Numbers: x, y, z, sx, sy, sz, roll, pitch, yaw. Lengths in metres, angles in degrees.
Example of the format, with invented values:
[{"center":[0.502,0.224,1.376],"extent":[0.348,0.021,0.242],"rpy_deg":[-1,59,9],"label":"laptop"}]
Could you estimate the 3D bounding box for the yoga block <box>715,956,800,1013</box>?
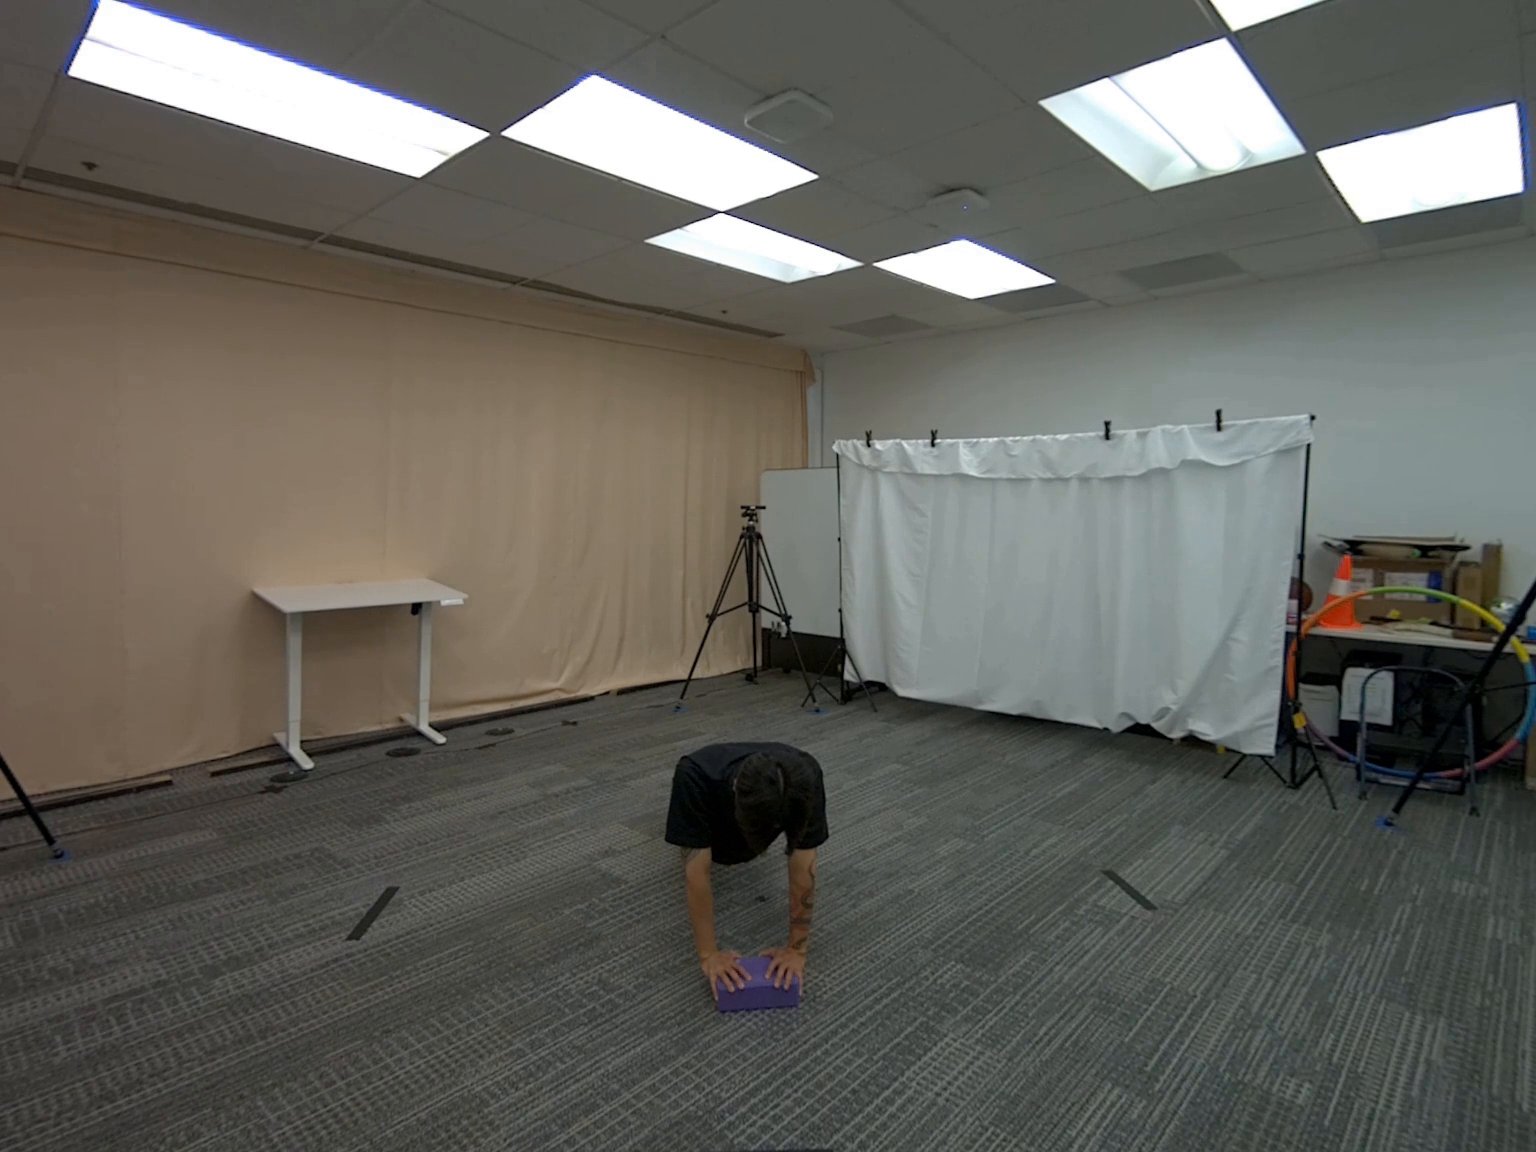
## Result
[{"center":[-0.039,1.151,2.394],"extent":[0.227,0.076,0.151],"rpy_deg":[0,4,-9],"label":"yoga block"}]
